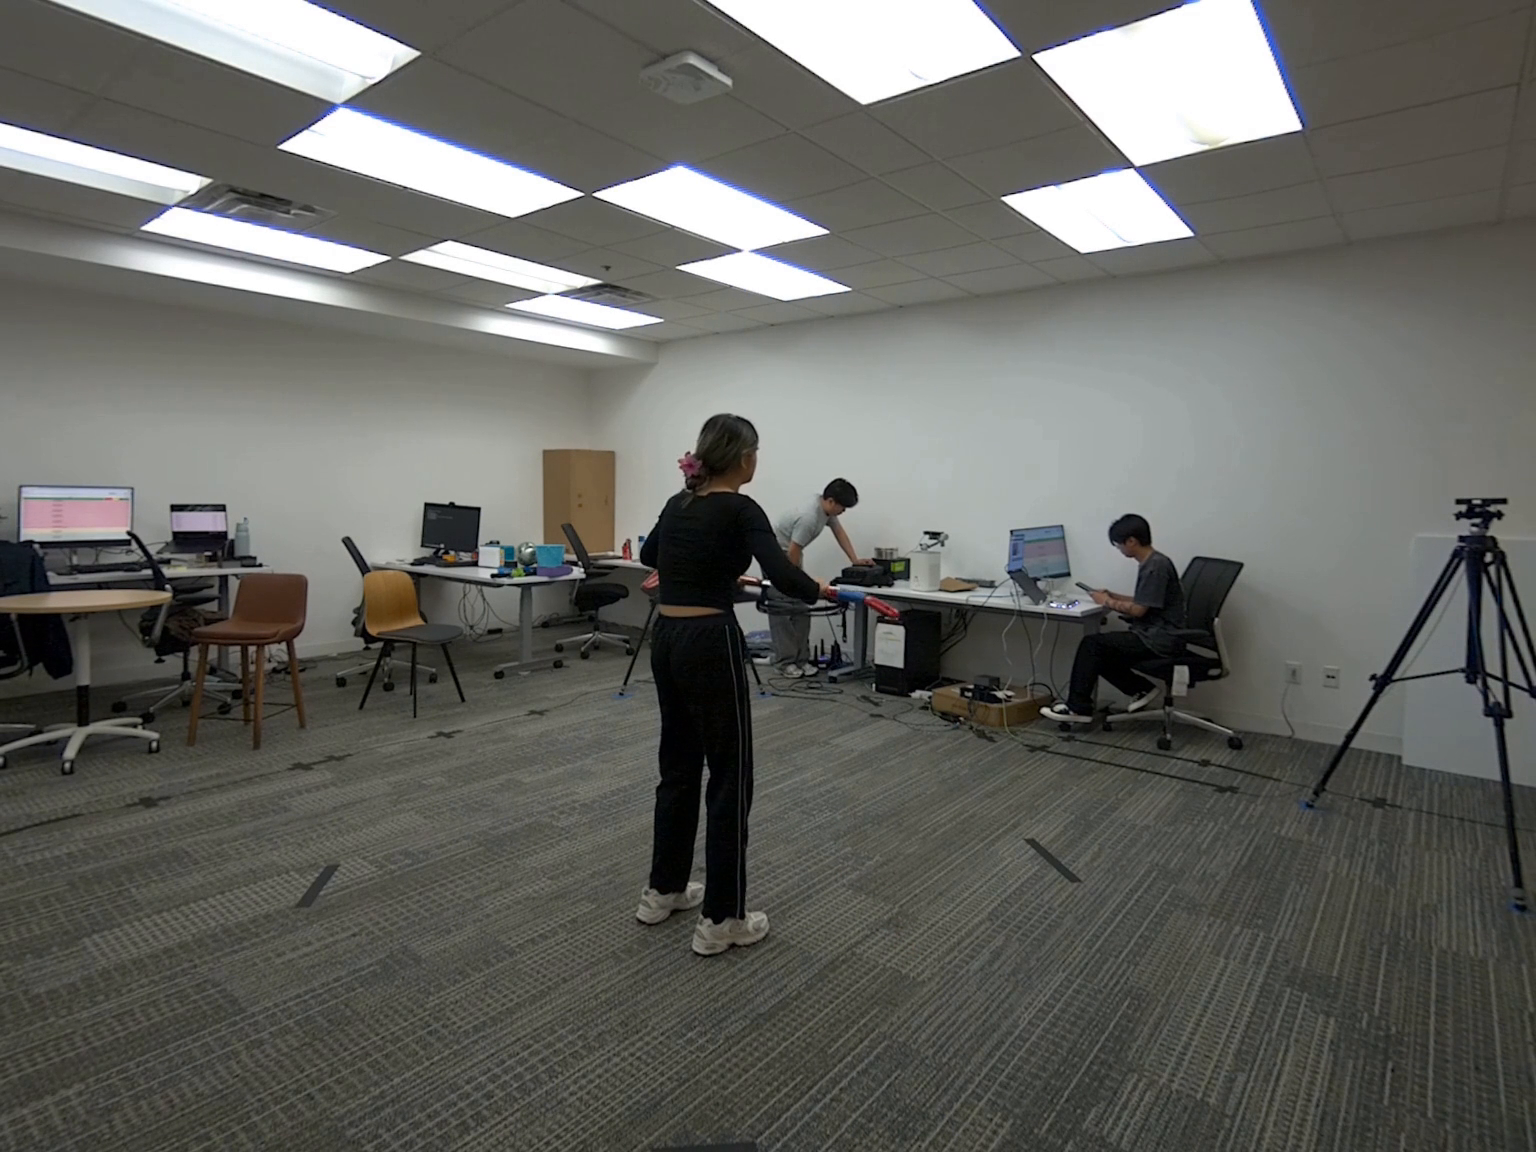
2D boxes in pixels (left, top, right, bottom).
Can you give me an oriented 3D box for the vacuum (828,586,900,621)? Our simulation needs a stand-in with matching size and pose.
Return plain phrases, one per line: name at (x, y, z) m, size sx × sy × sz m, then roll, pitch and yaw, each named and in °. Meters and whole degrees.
vacuum at (-0.017, 0.070, 2.898) m, size 1.086 × 0.140 × 0.251 m, roll 8°, pitch 41°, yaw 48°
